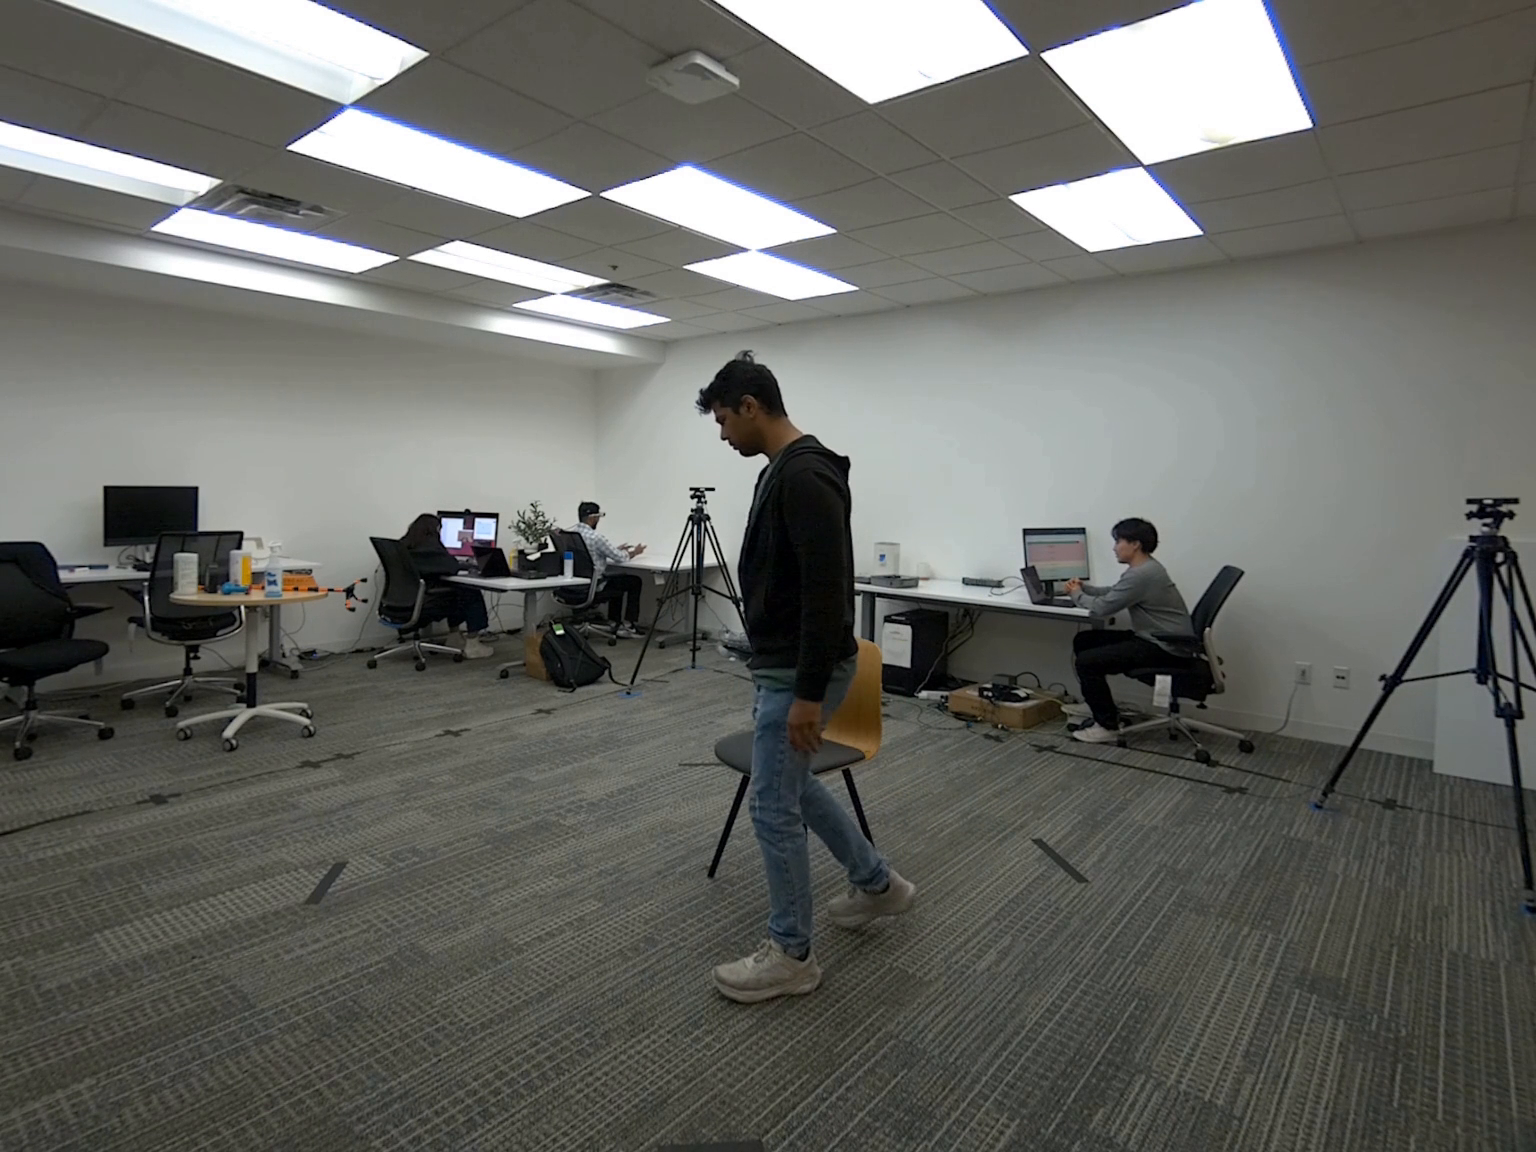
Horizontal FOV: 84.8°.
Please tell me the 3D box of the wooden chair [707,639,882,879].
[{"bbox_3d":[0.095,0.653,3.004,0.494,0.877,0.505,5,1,43],"label":"wooden chair"}]
